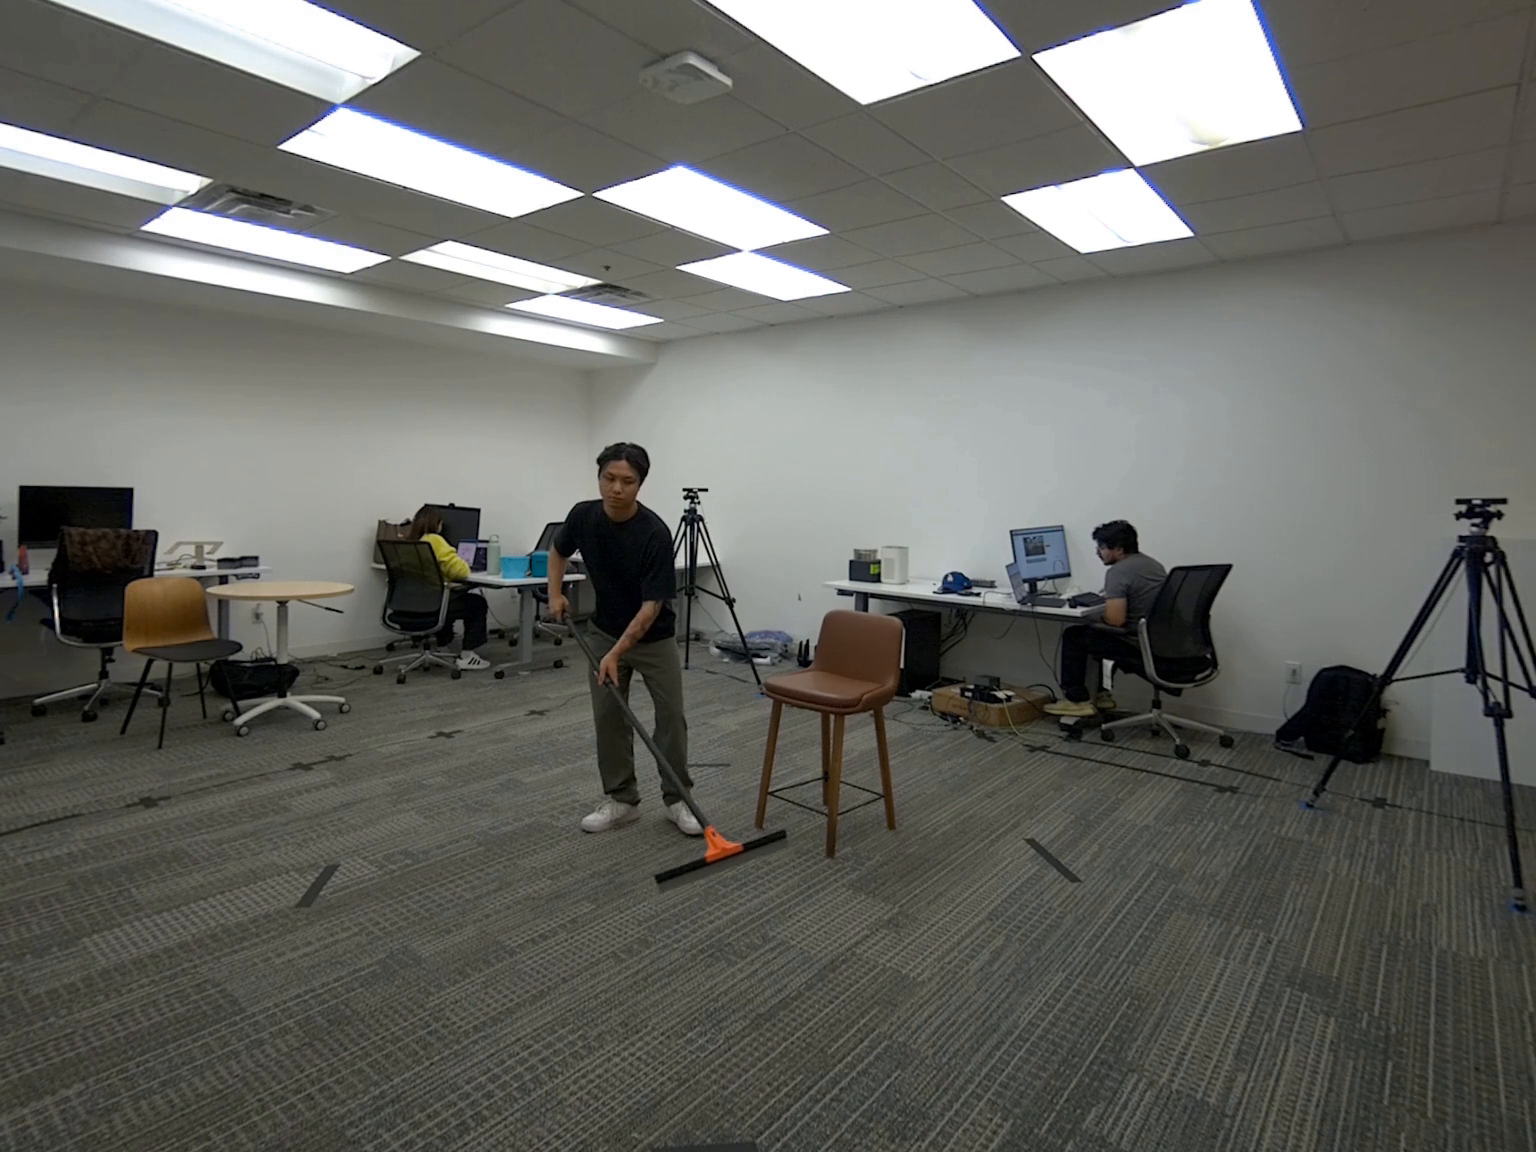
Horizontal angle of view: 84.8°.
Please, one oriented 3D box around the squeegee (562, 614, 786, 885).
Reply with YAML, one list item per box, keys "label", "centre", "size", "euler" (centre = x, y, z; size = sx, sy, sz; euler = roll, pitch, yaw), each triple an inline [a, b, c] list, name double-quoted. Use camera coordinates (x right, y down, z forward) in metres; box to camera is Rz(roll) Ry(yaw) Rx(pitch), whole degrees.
- label: "squeegee"
  centre: [-0.513, 0.464, 3.038]
  size: [0.428, 0.052, 1.605]
  euler: [-14, 34, -29]
